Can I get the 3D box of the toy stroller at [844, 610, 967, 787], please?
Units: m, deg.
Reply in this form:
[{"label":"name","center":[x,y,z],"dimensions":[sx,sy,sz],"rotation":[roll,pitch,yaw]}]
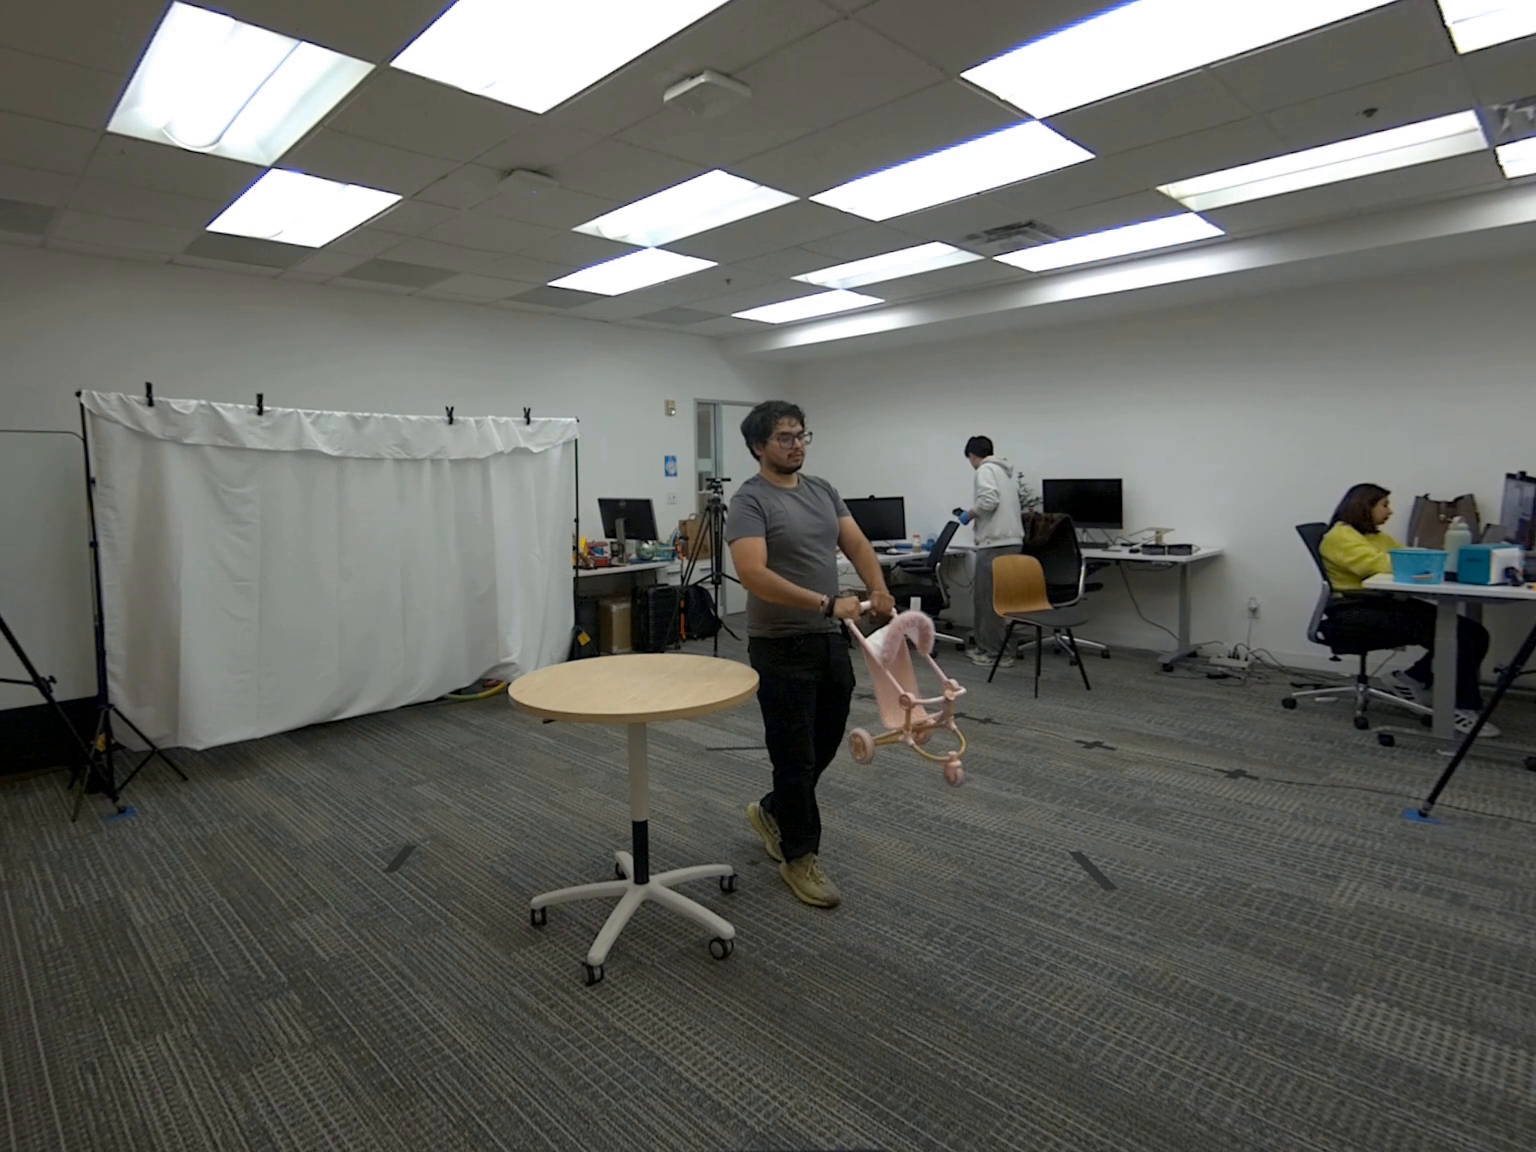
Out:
[{"label":"toy stroller","center":[0.424,0.337,2.545],"dimensions":[0.275,0.535,0.349],"rotation":[-10,0,-34]}]
